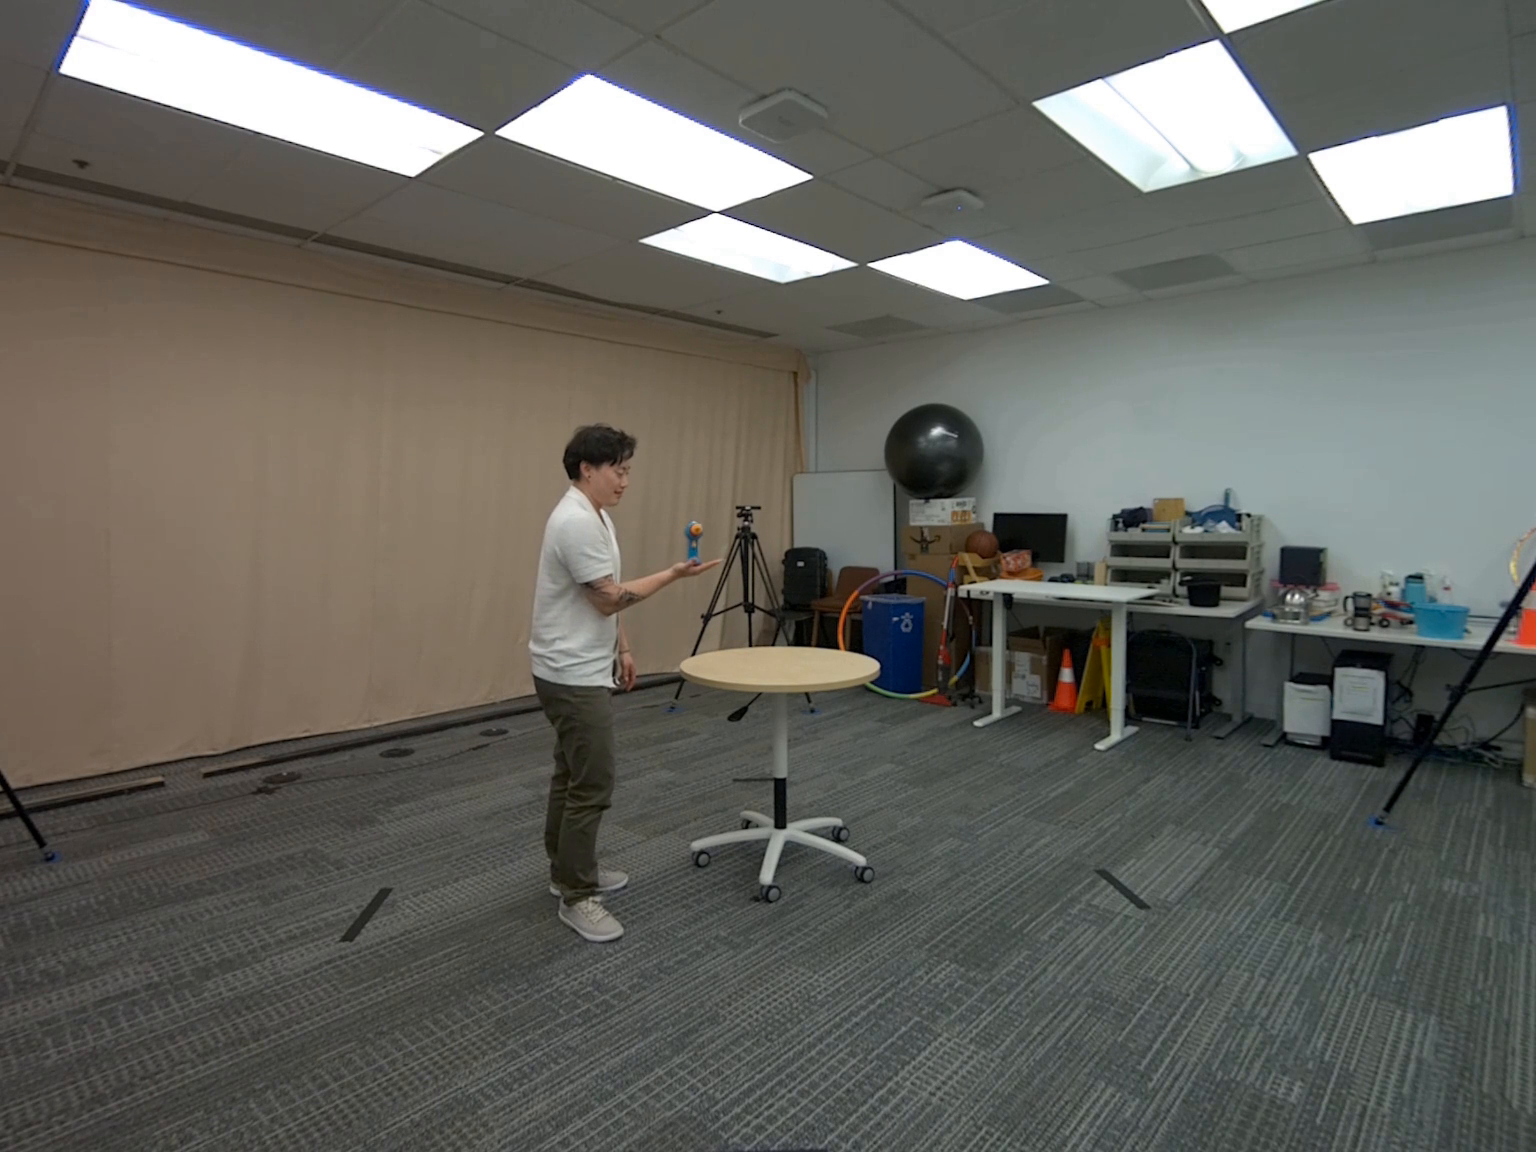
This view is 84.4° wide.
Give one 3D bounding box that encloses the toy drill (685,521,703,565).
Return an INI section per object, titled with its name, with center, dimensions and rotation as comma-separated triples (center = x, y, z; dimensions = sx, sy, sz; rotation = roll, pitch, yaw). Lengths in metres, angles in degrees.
[toy drill]
center = -0.248, -0.107, 2.752
dimensions = 0.060, 0.146, 0.171
rotation = 0, -4, -9
